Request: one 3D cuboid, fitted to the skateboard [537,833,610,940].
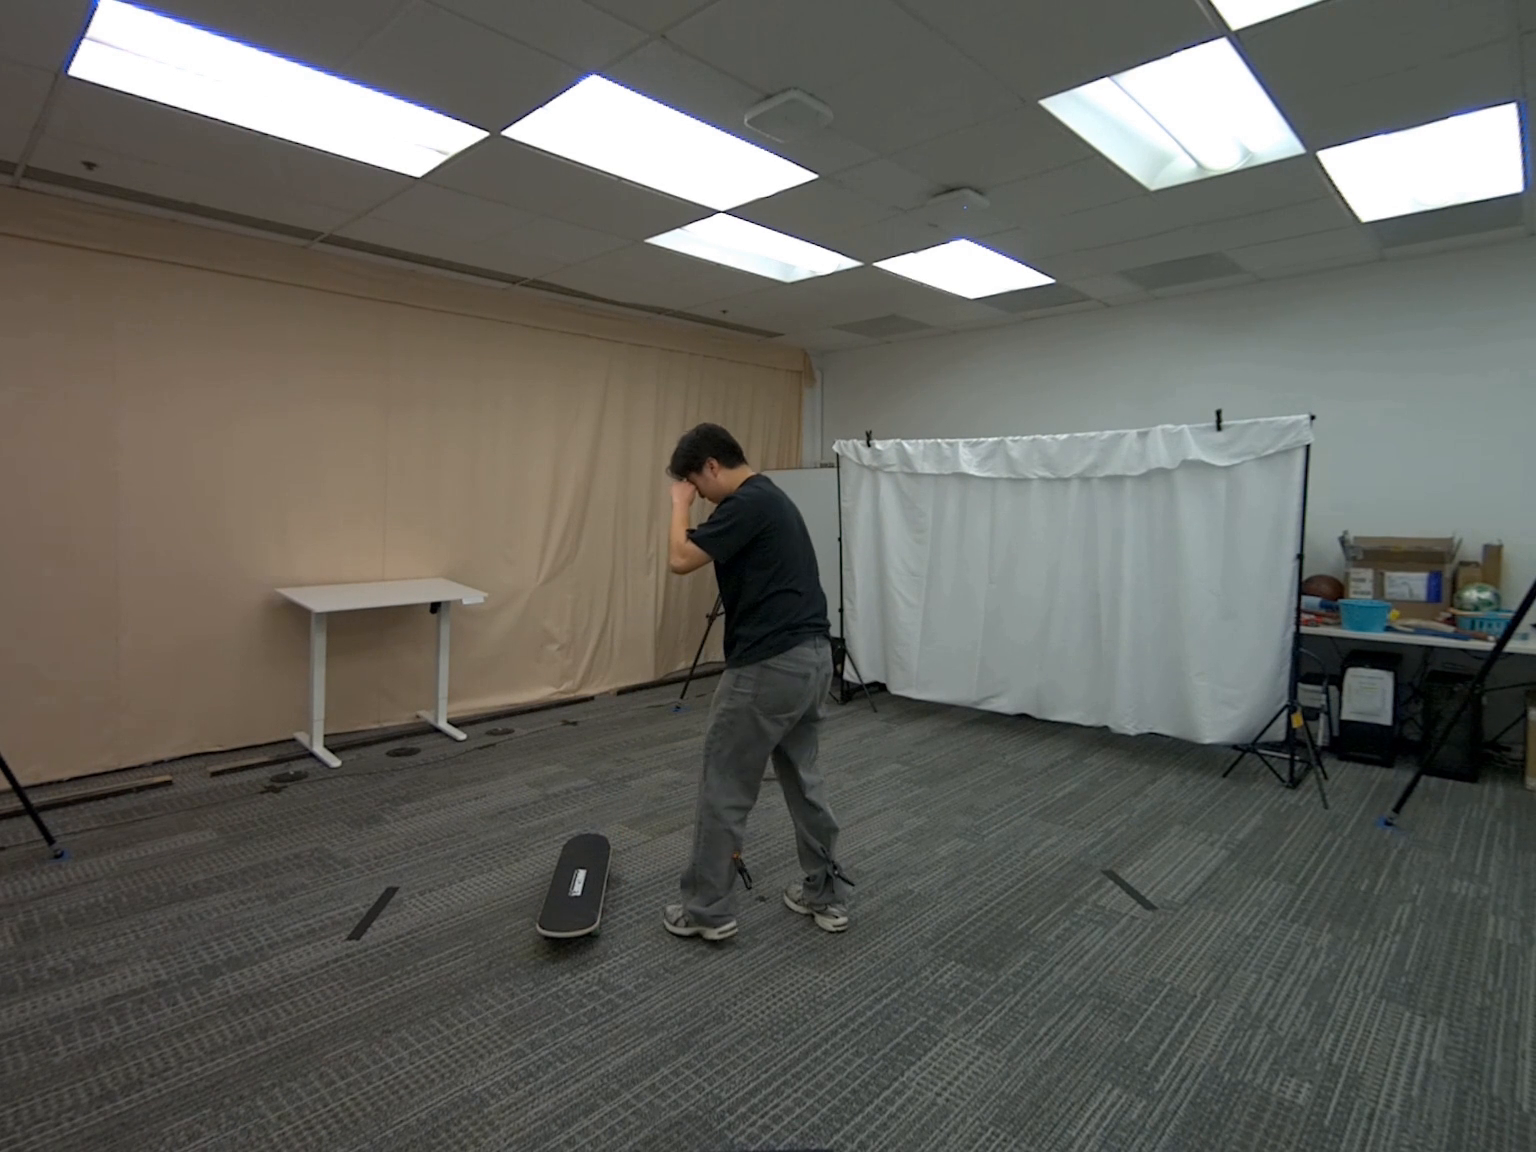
[{"bbox_3d":[-0.655,1.090,2.930,0.193,0.110,0.790,-1,5,-5],"label":"skateboard"}]
